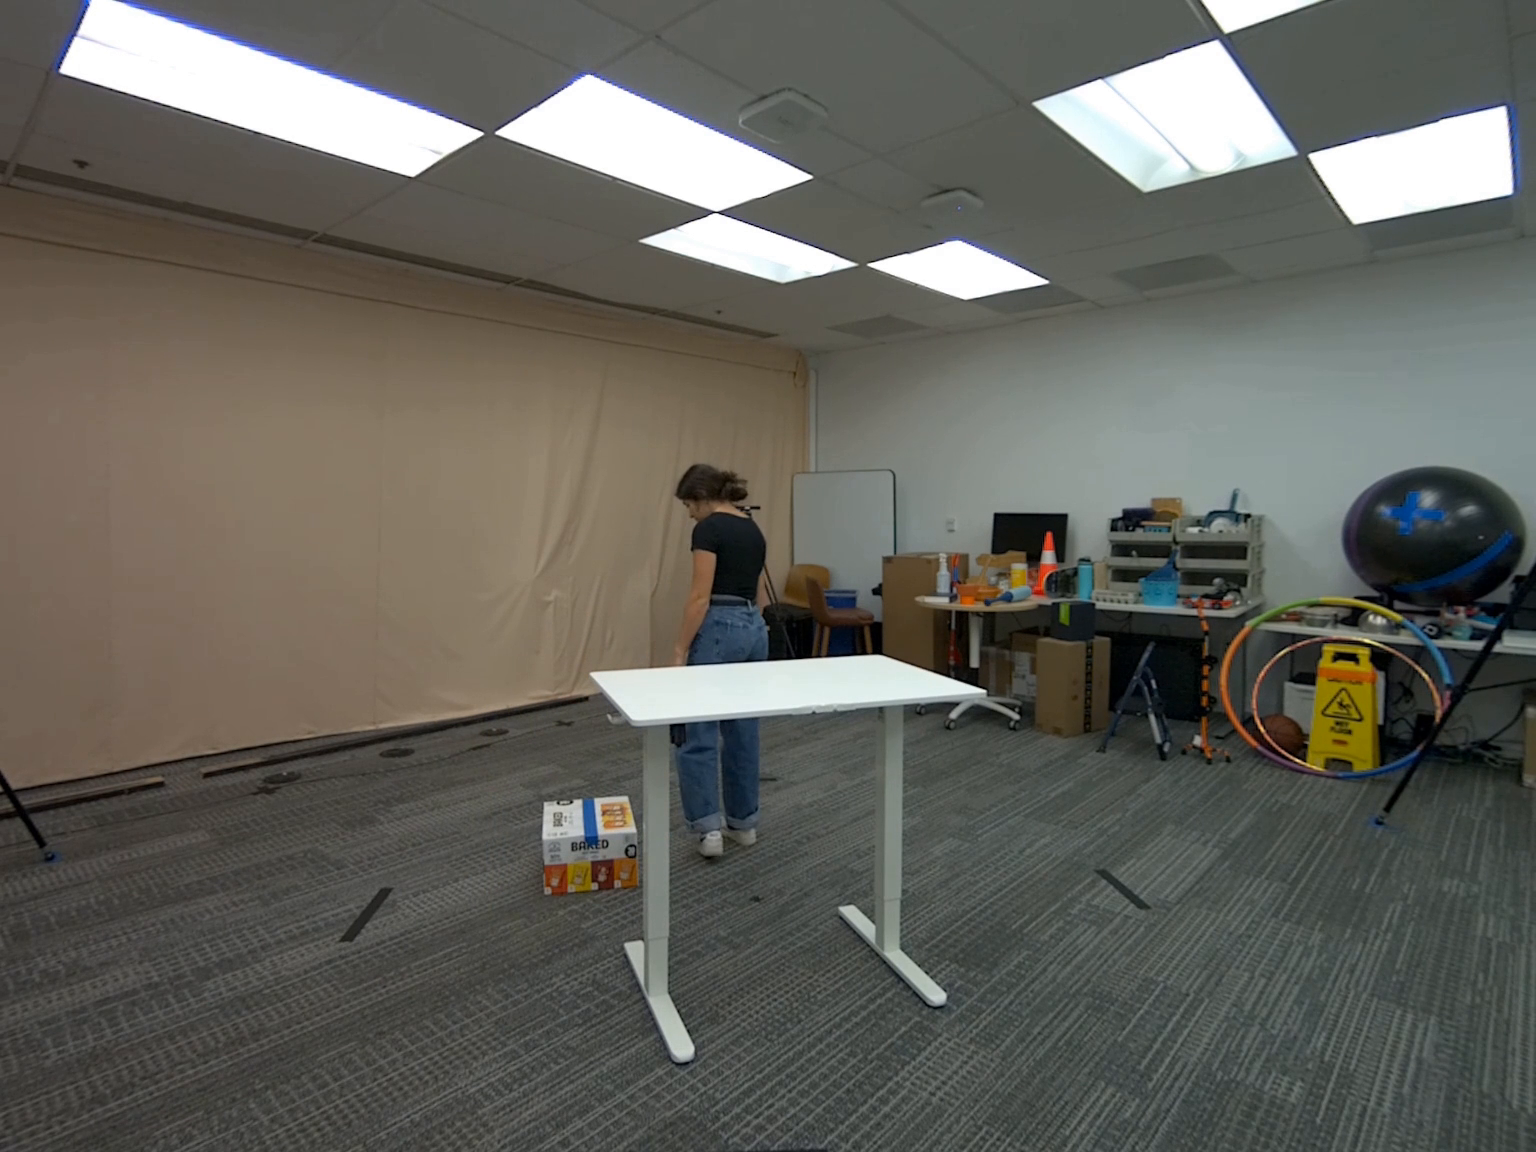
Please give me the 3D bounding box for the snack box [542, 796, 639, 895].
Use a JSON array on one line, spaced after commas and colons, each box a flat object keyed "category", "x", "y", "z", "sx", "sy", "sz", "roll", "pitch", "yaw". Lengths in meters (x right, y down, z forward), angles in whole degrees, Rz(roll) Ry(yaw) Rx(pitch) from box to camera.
[{"category": "snack box", "x": -0.695, "y": 1.027, "z": 3.244, "sx": 0.336, "sy": 0.205, "sz": 0.411, "roll": -1, "pitch": 4, "yaw": -13}]
